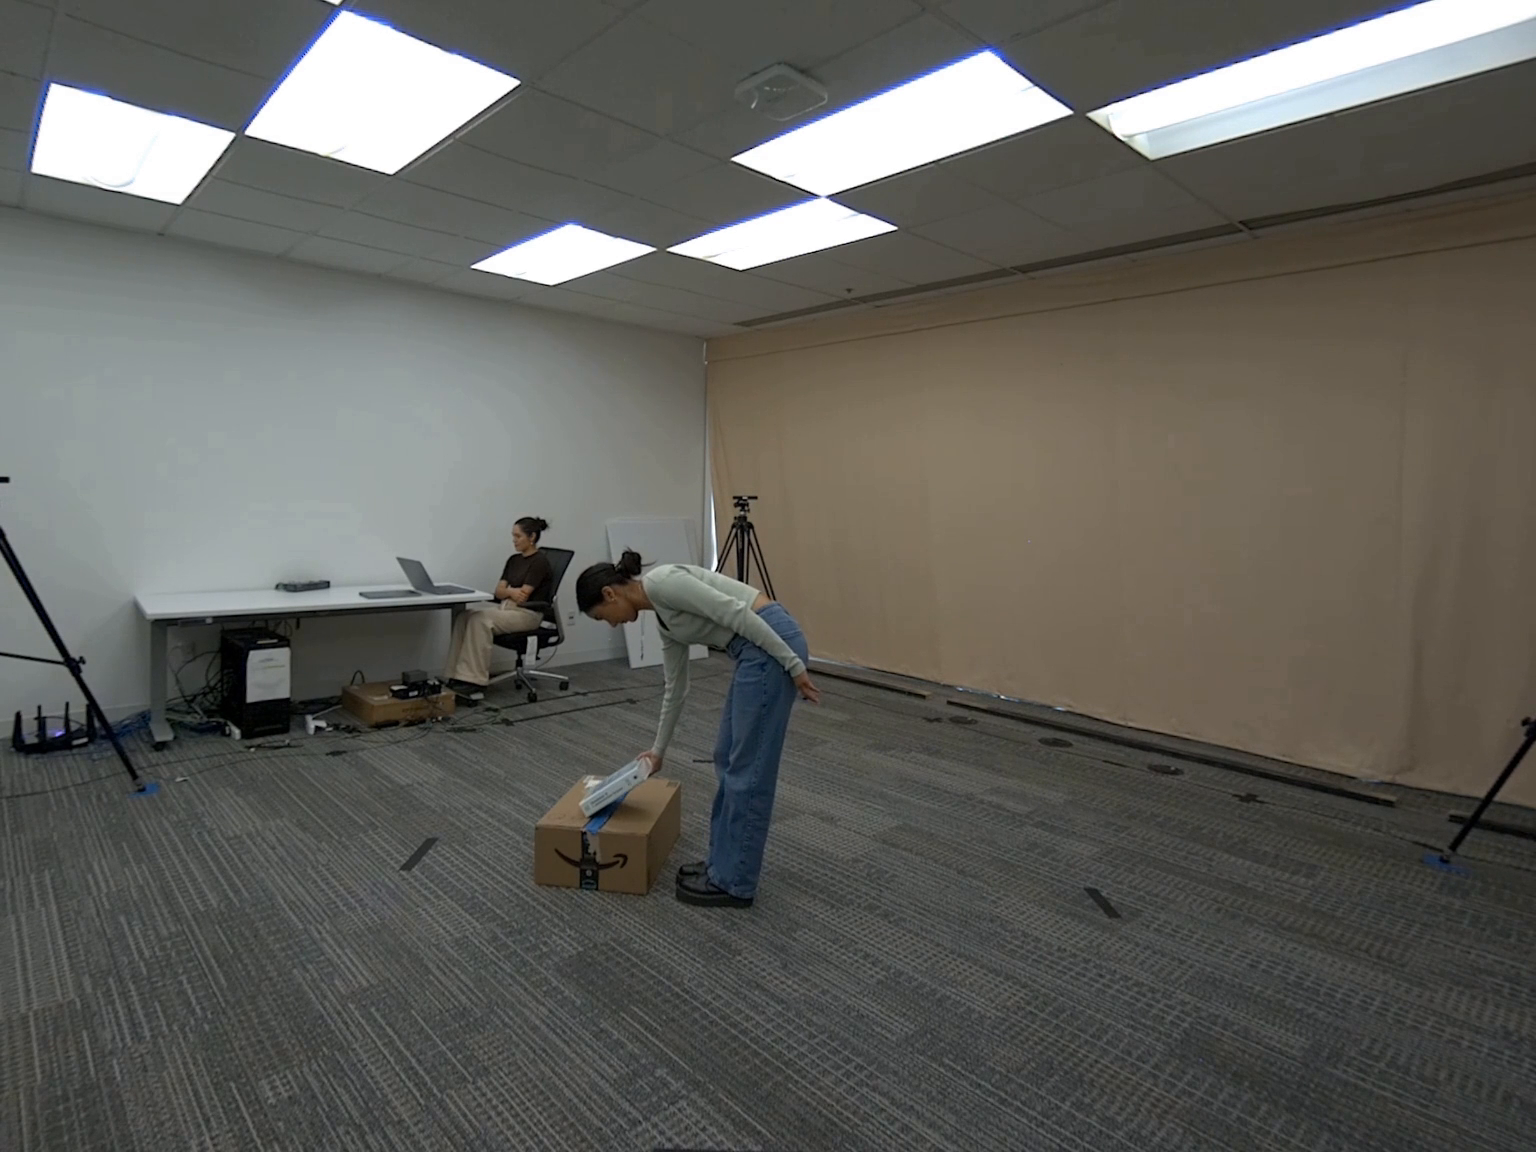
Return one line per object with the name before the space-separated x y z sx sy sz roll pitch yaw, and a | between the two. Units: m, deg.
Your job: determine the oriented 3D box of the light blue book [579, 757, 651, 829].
light blue book | -0.566 0.780 3.145 0.261 0.059 0.191 -33 3 2
